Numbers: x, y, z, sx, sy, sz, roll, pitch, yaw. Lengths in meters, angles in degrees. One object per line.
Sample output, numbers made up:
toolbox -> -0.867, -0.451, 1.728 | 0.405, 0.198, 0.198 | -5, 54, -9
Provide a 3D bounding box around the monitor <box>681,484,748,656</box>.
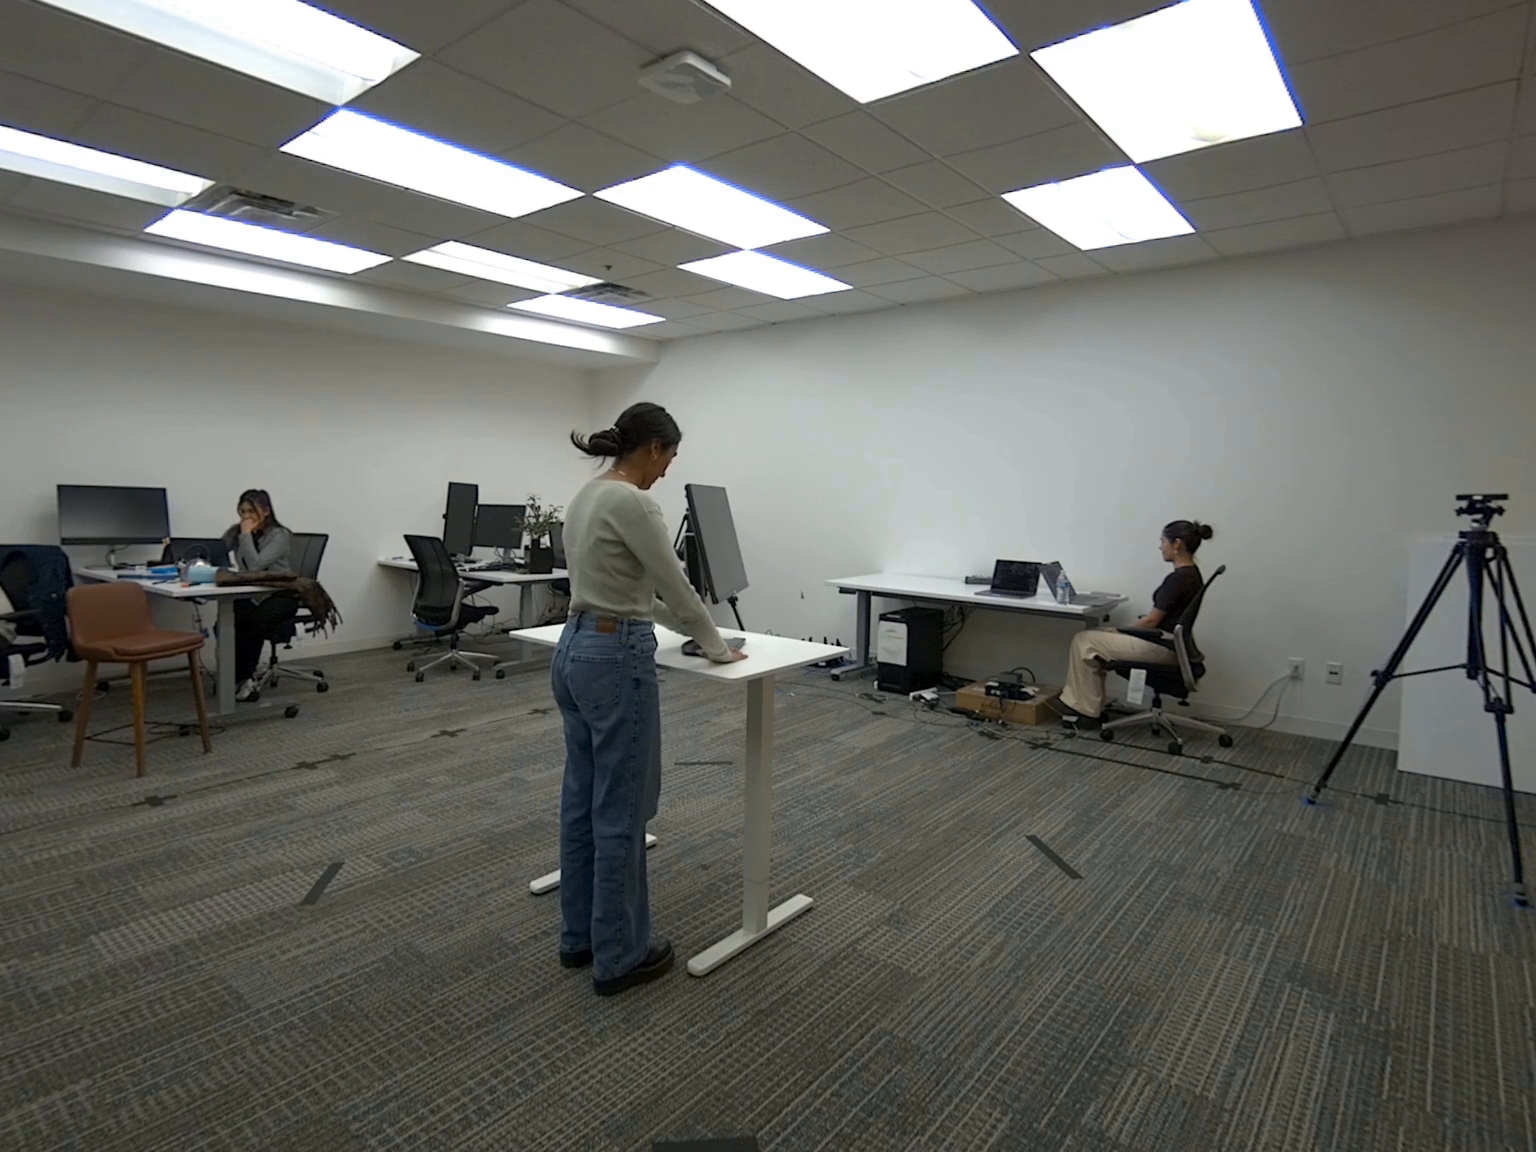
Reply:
monitor -> -0.187, -0.025, 2.665 | 0.176, 0.515, 0.526 | 3, 3, 7
